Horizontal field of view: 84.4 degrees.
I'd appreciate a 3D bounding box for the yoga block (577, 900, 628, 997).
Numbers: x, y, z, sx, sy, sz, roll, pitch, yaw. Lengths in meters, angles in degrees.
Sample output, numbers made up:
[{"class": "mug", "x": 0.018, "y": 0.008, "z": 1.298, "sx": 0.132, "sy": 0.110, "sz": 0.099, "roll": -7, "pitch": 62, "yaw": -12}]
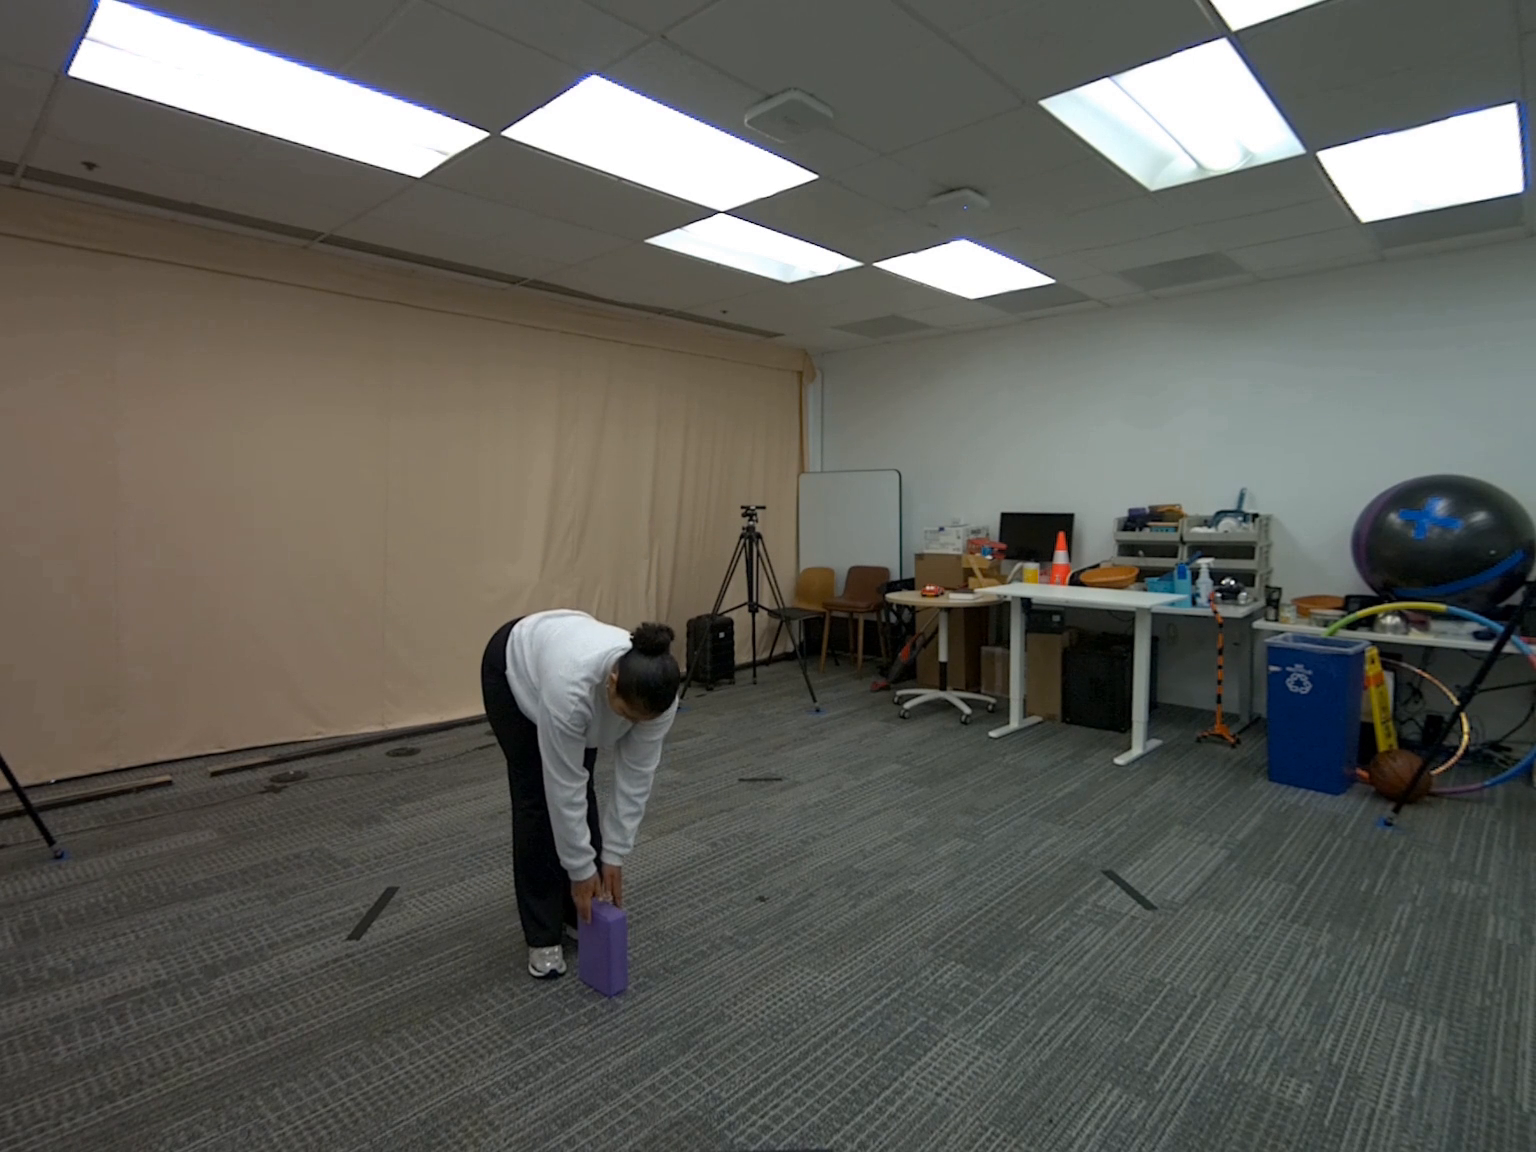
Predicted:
[{"class": "yoga block", "x": -0.480, "y": 1.076, "z": 2.443, "sx": 0.154, "sy": 0.229, "sz": 0.074, "roll": 4, "pitch": 5, "yaw": 42}]
